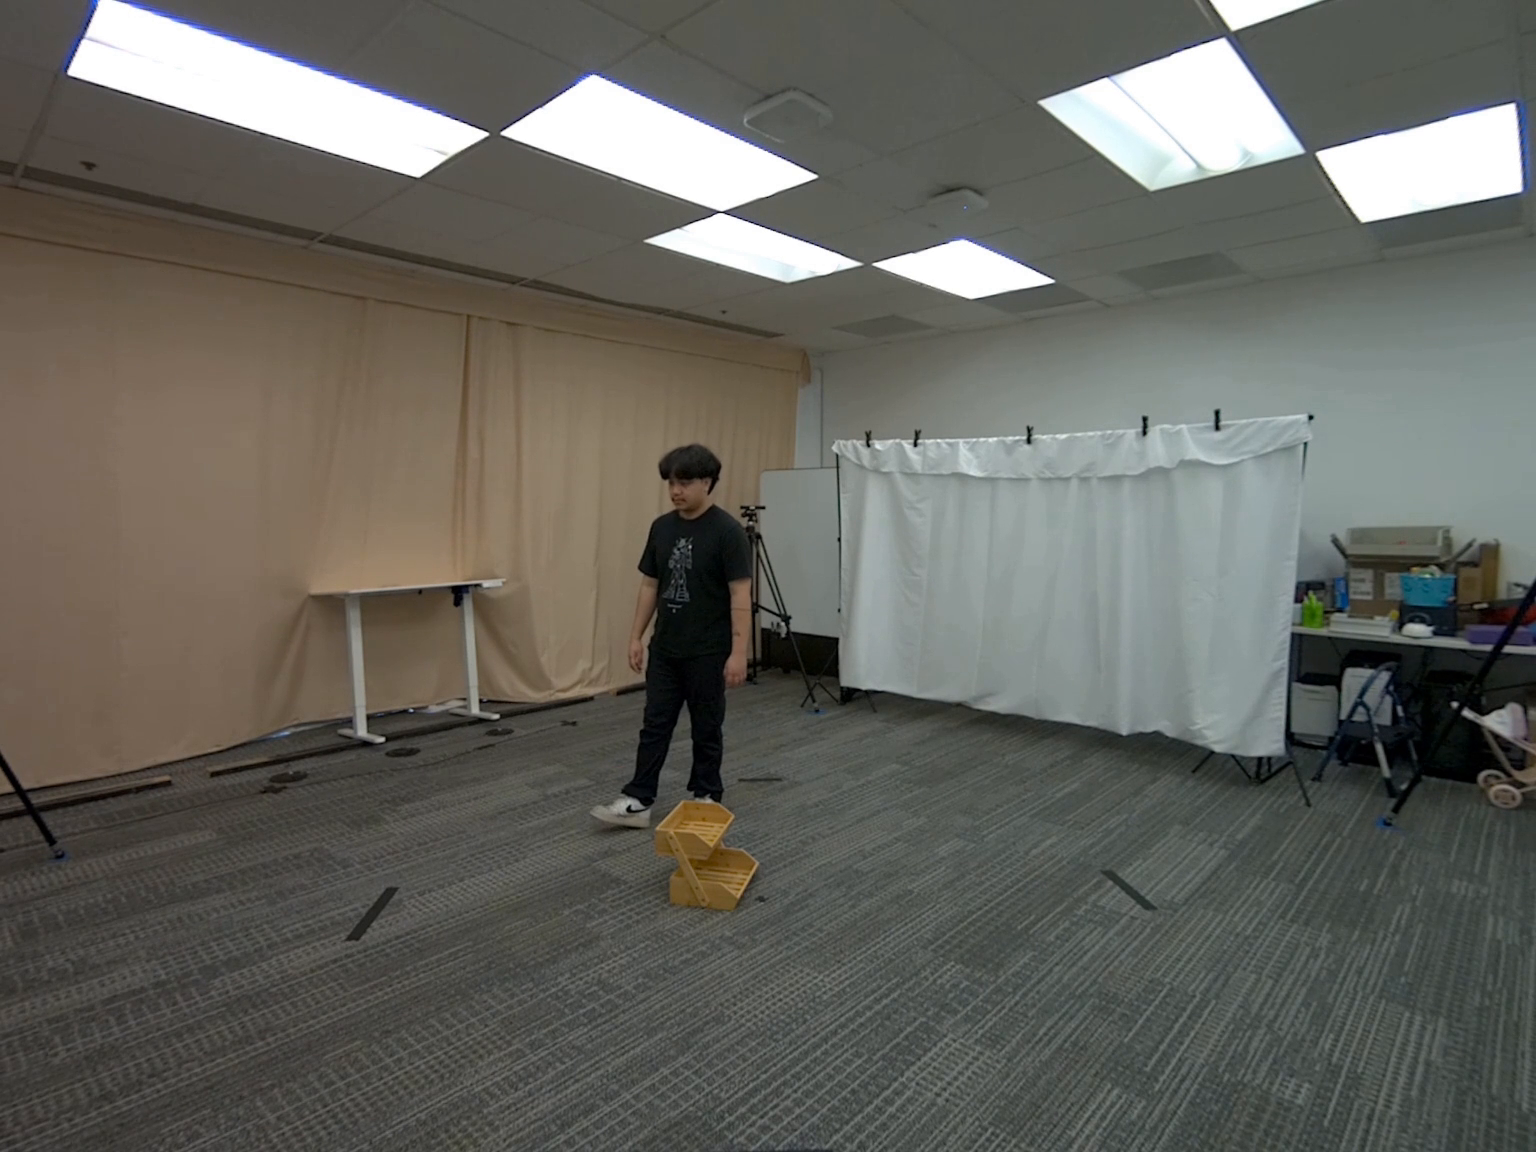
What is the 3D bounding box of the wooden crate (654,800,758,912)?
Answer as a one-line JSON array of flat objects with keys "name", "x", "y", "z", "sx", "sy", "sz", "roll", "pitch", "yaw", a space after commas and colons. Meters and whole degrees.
[{"name": "wooden crate", "x": -0.206, "y": 1.006, "z": 3.063, "sx": 0.307, "sy": 0.272, "sz": 0.320, "roll": 0, "pitch": 4, "yaw": 13}]
